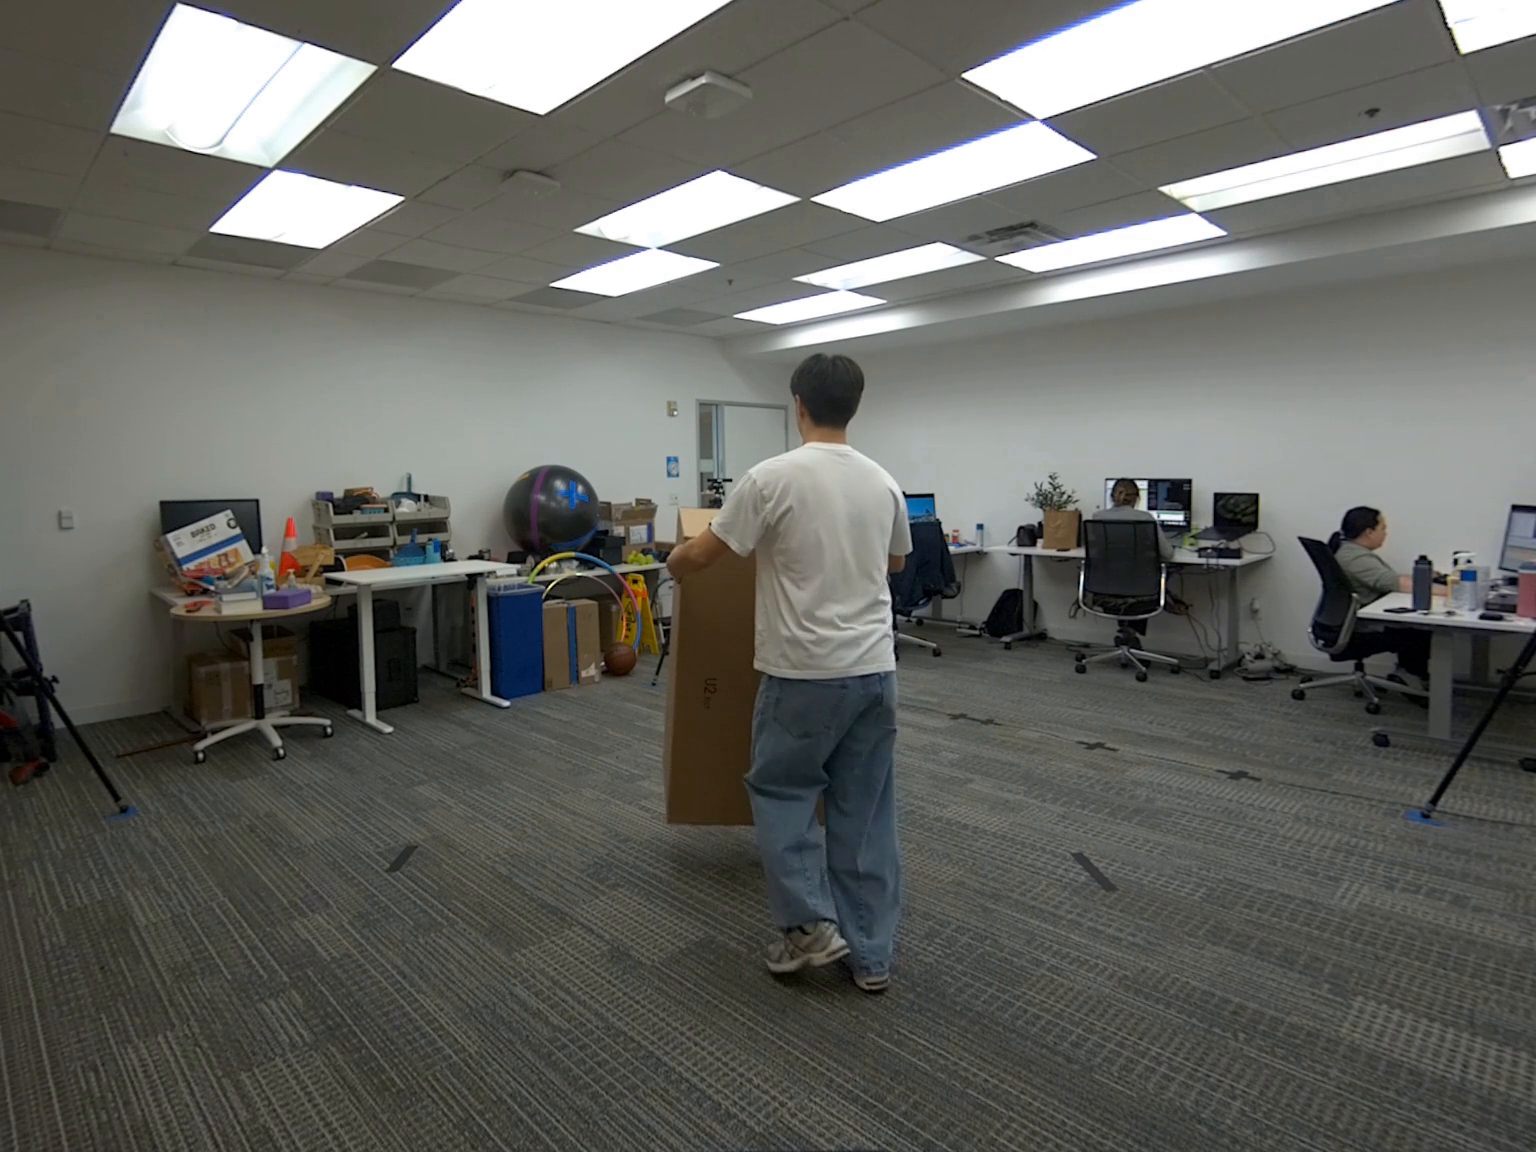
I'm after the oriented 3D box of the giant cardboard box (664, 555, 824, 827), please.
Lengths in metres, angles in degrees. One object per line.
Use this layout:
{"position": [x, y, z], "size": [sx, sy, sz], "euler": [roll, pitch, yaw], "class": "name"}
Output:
{"position": [-0.048, 0.318, 3.020], "size": [0.573, 1.014, 0.435], "euler": [2, 14, -9], "class": "giant cardboard box"}
